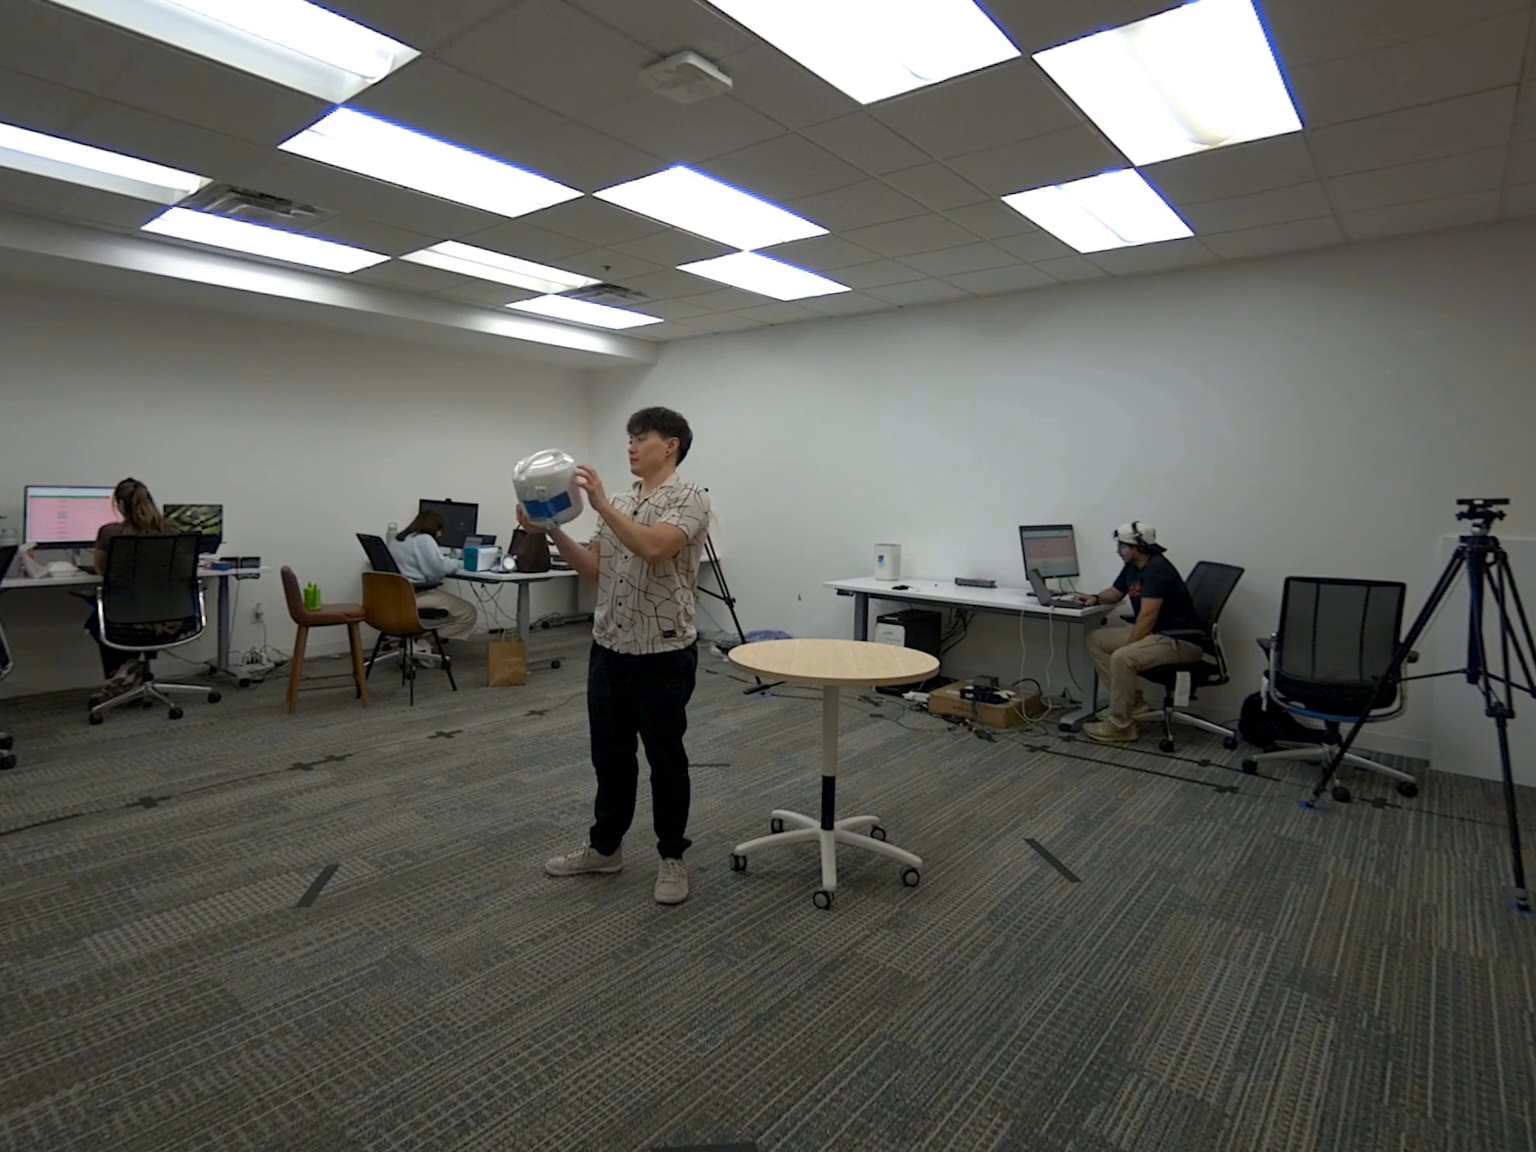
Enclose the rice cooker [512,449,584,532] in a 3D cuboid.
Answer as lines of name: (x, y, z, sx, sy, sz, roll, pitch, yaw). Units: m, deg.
rice cooker: (-0.736, -0.296, 2.796, 0.225, 0.227, 0.218, 14, 32, 36)
